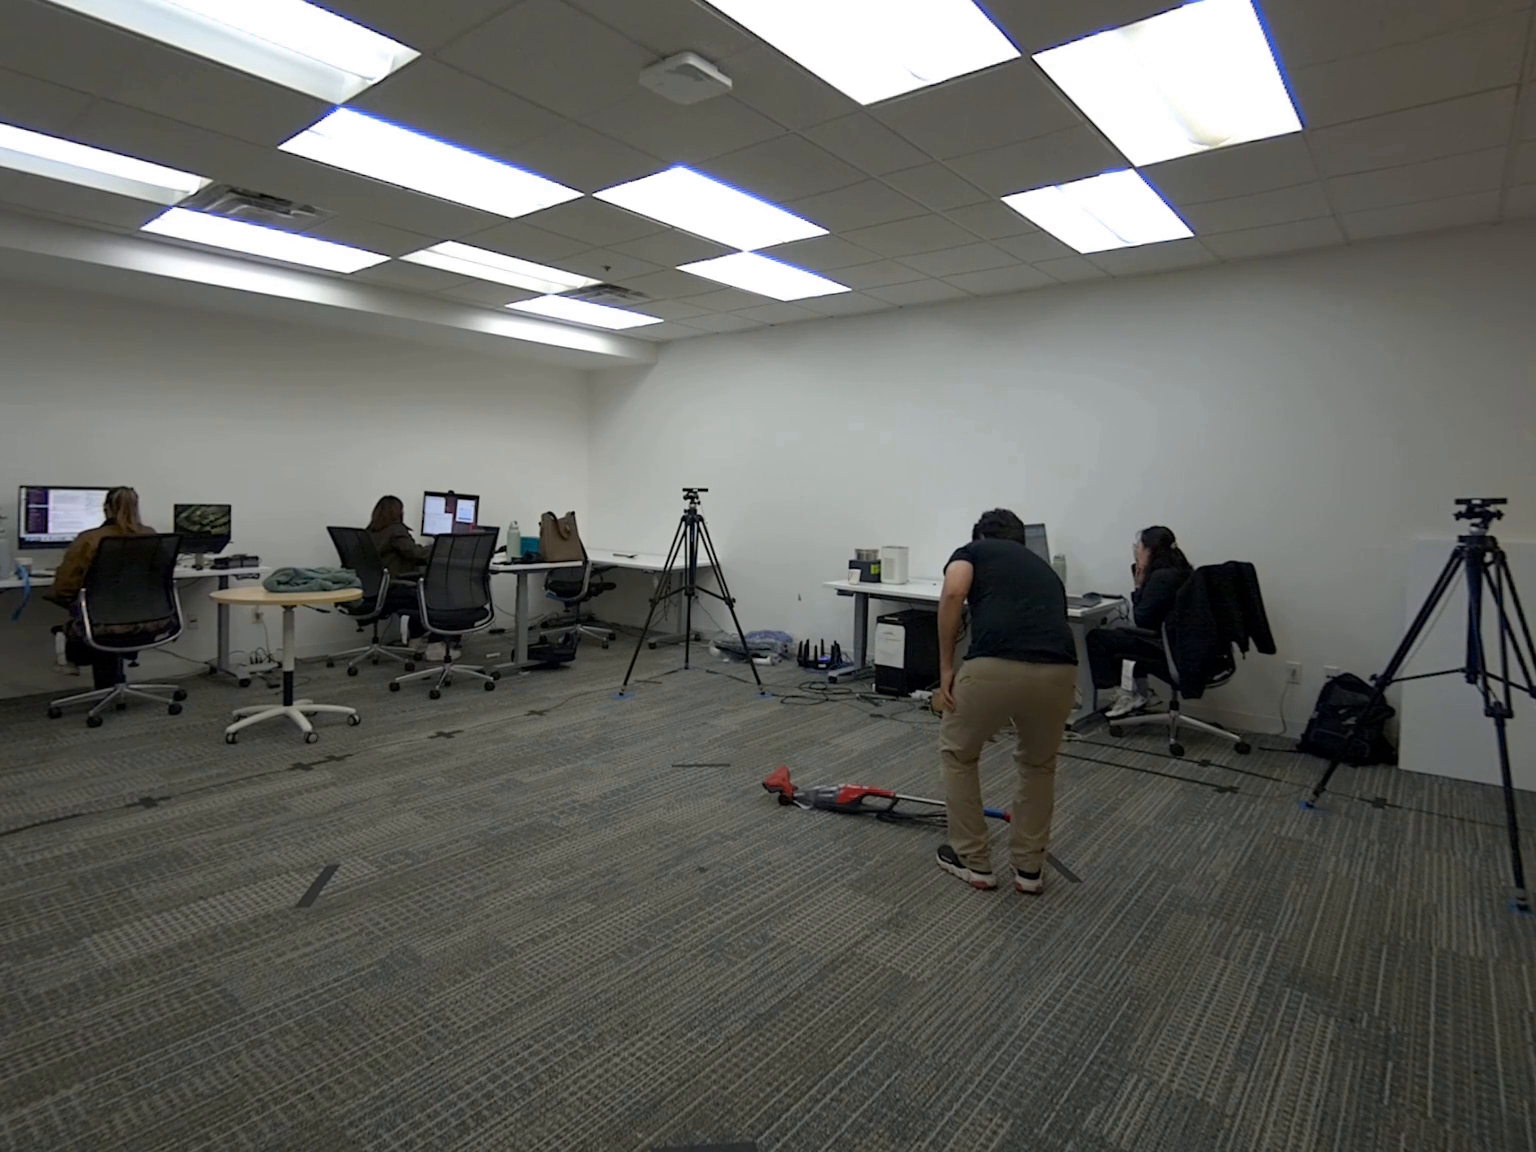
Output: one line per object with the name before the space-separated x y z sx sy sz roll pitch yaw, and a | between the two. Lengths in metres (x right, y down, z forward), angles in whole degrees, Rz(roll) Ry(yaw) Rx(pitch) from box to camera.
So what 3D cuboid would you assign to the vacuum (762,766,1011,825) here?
vacuum | 0.524 0.977 3.616 1.076 0.143 0.247 4 6 24
